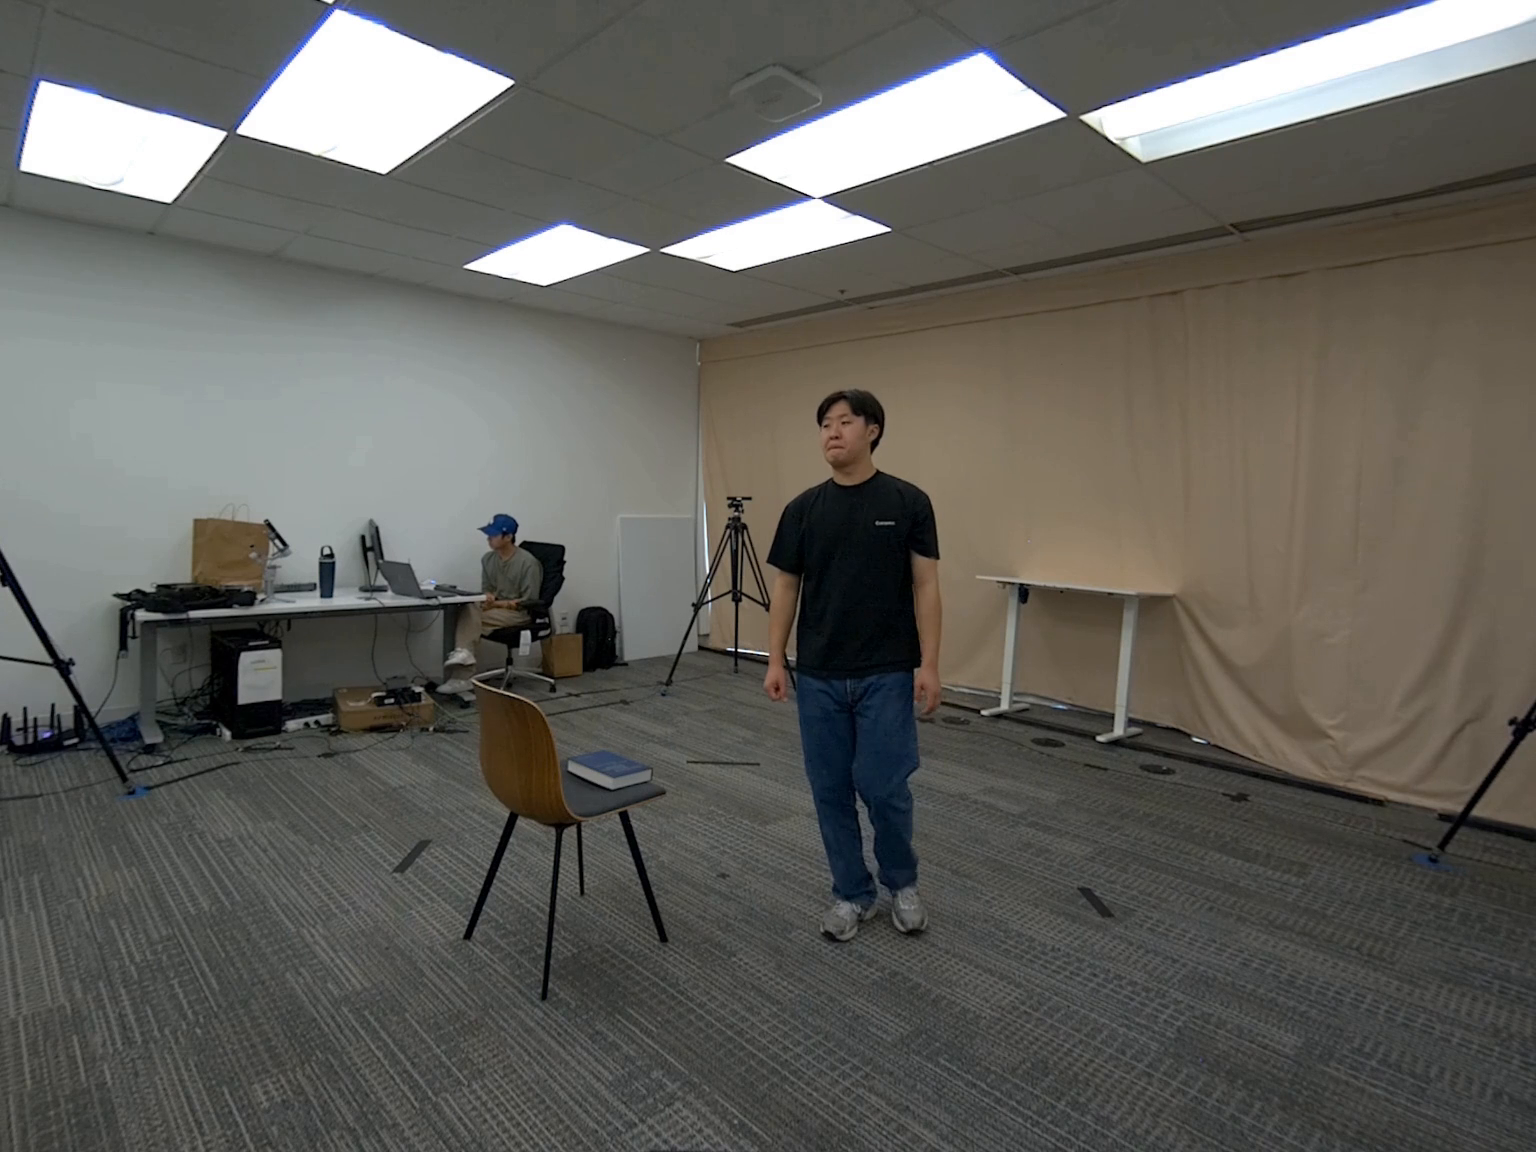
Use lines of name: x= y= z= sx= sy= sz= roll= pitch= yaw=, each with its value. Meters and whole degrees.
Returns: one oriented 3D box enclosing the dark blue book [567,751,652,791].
dark blue book: x=-0.515 y=0.623 z=2.723 sx=0.251 sy=0.045 sz=0.159 roll=7 pitch=5 yaw=42
